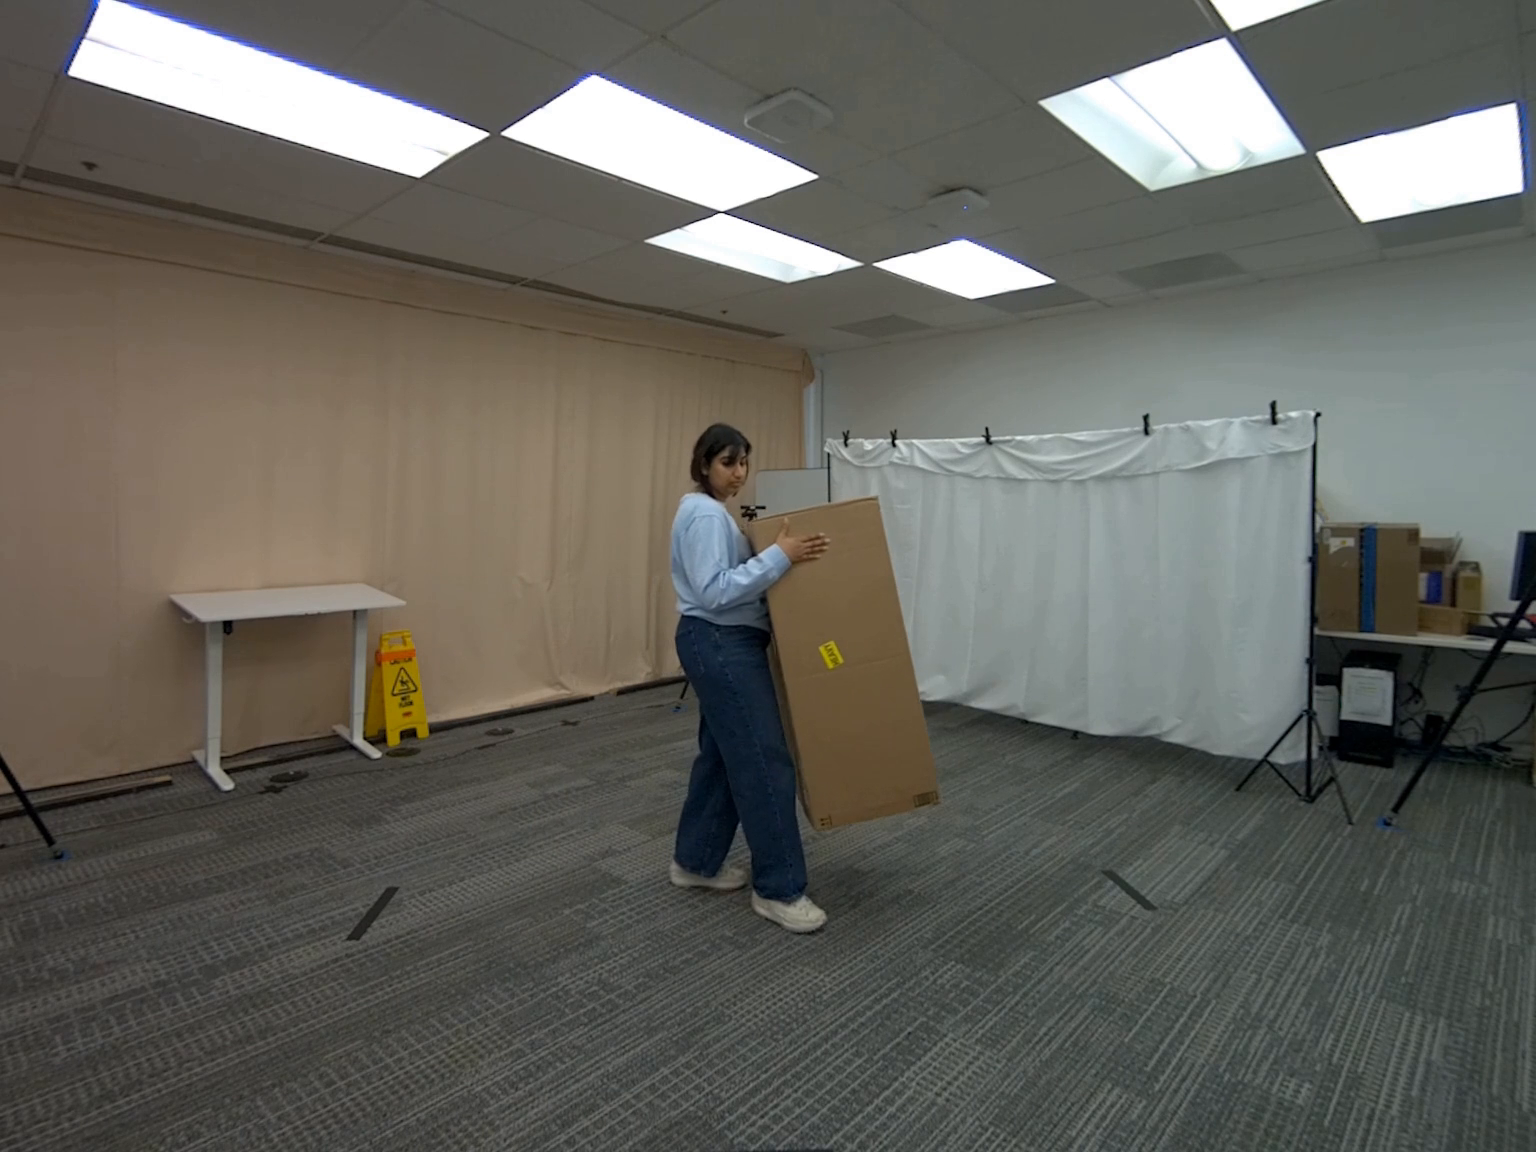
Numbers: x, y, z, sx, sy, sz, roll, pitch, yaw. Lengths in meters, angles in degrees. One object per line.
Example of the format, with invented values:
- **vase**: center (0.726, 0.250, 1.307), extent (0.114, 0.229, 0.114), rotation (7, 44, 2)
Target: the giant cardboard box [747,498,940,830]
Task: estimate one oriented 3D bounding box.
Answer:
- **giant cardboard box**: center (0.236, 0.280, 2.984), extent (0.447, 1.028, 0.584), rotation (-12, -1, -2)
